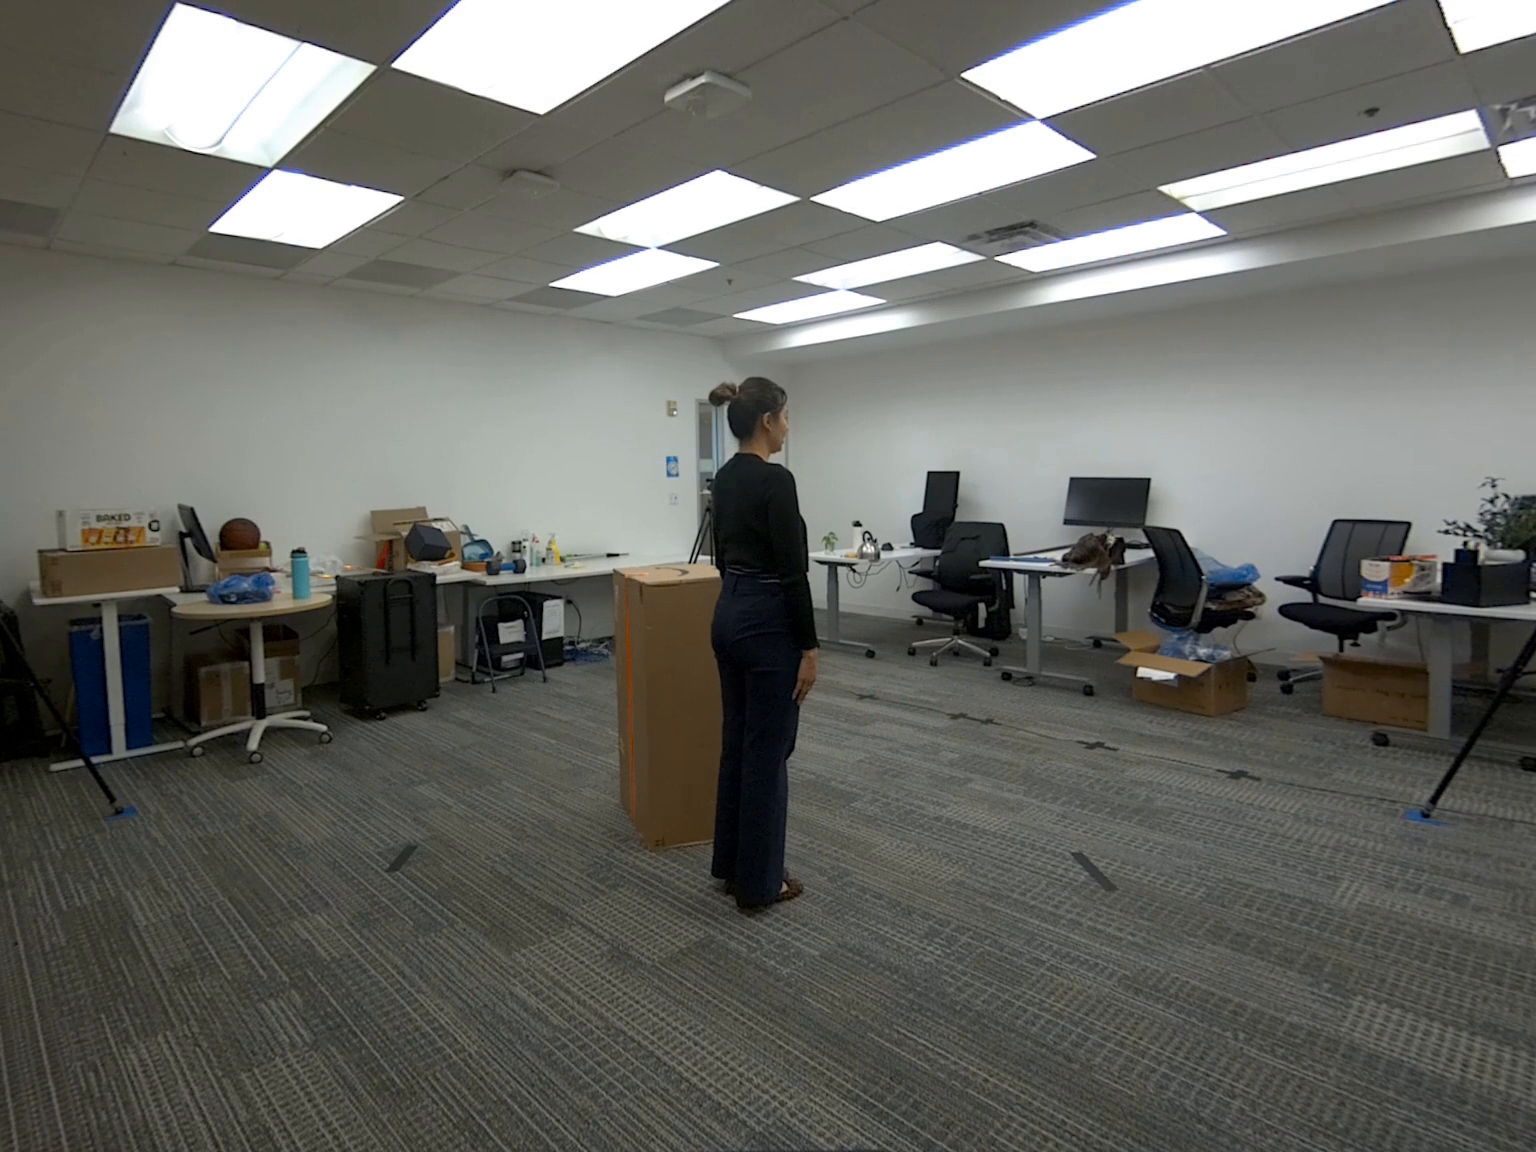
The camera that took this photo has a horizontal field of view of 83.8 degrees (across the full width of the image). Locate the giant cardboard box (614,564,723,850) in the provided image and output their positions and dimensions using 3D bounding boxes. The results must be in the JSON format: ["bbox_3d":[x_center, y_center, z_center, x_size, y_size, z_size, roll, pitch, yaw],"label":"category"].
[{"bbox_3d":[-0.365,0.489,3.513,0.419,1.022,0.589,-2,4,-20],"label":"giant cardboard box"}]
